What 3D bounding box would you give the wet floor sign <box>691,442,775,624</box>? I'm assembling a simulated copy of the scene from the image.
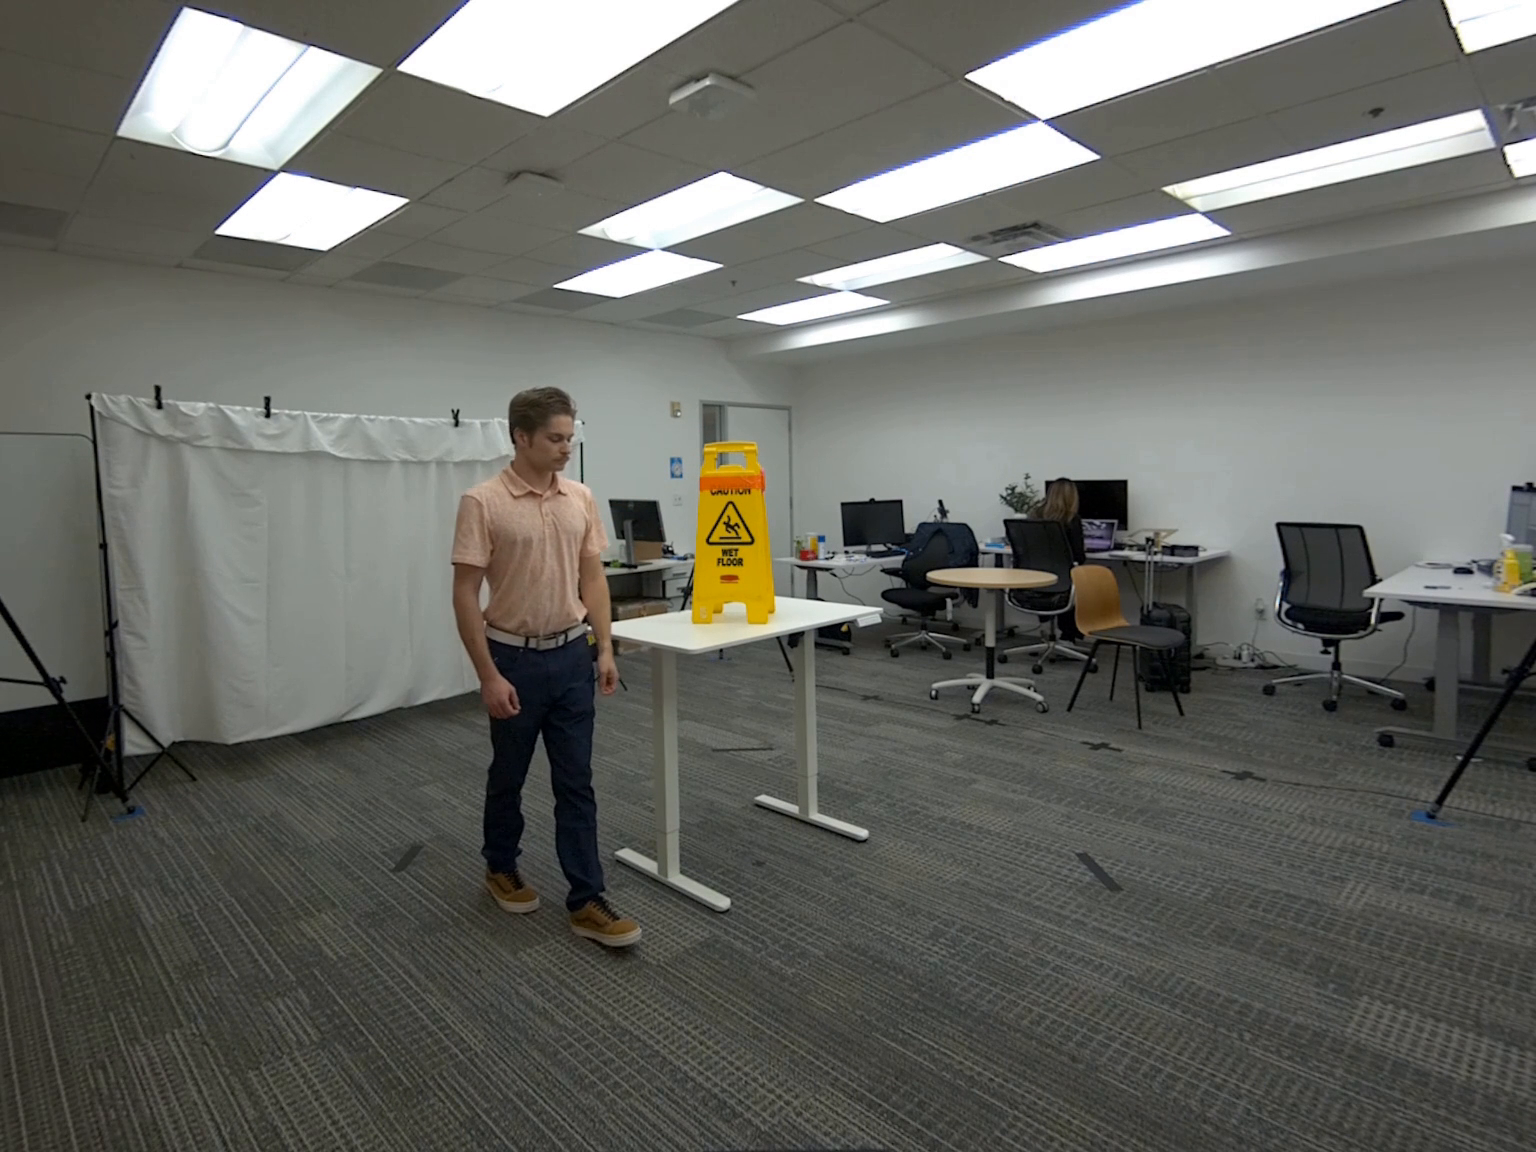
[{"bbox_3d":[-0.132,-0.164,3.157,0.284,0.643,0.289,-2,5,7],"label":"wet floor sign"}]
